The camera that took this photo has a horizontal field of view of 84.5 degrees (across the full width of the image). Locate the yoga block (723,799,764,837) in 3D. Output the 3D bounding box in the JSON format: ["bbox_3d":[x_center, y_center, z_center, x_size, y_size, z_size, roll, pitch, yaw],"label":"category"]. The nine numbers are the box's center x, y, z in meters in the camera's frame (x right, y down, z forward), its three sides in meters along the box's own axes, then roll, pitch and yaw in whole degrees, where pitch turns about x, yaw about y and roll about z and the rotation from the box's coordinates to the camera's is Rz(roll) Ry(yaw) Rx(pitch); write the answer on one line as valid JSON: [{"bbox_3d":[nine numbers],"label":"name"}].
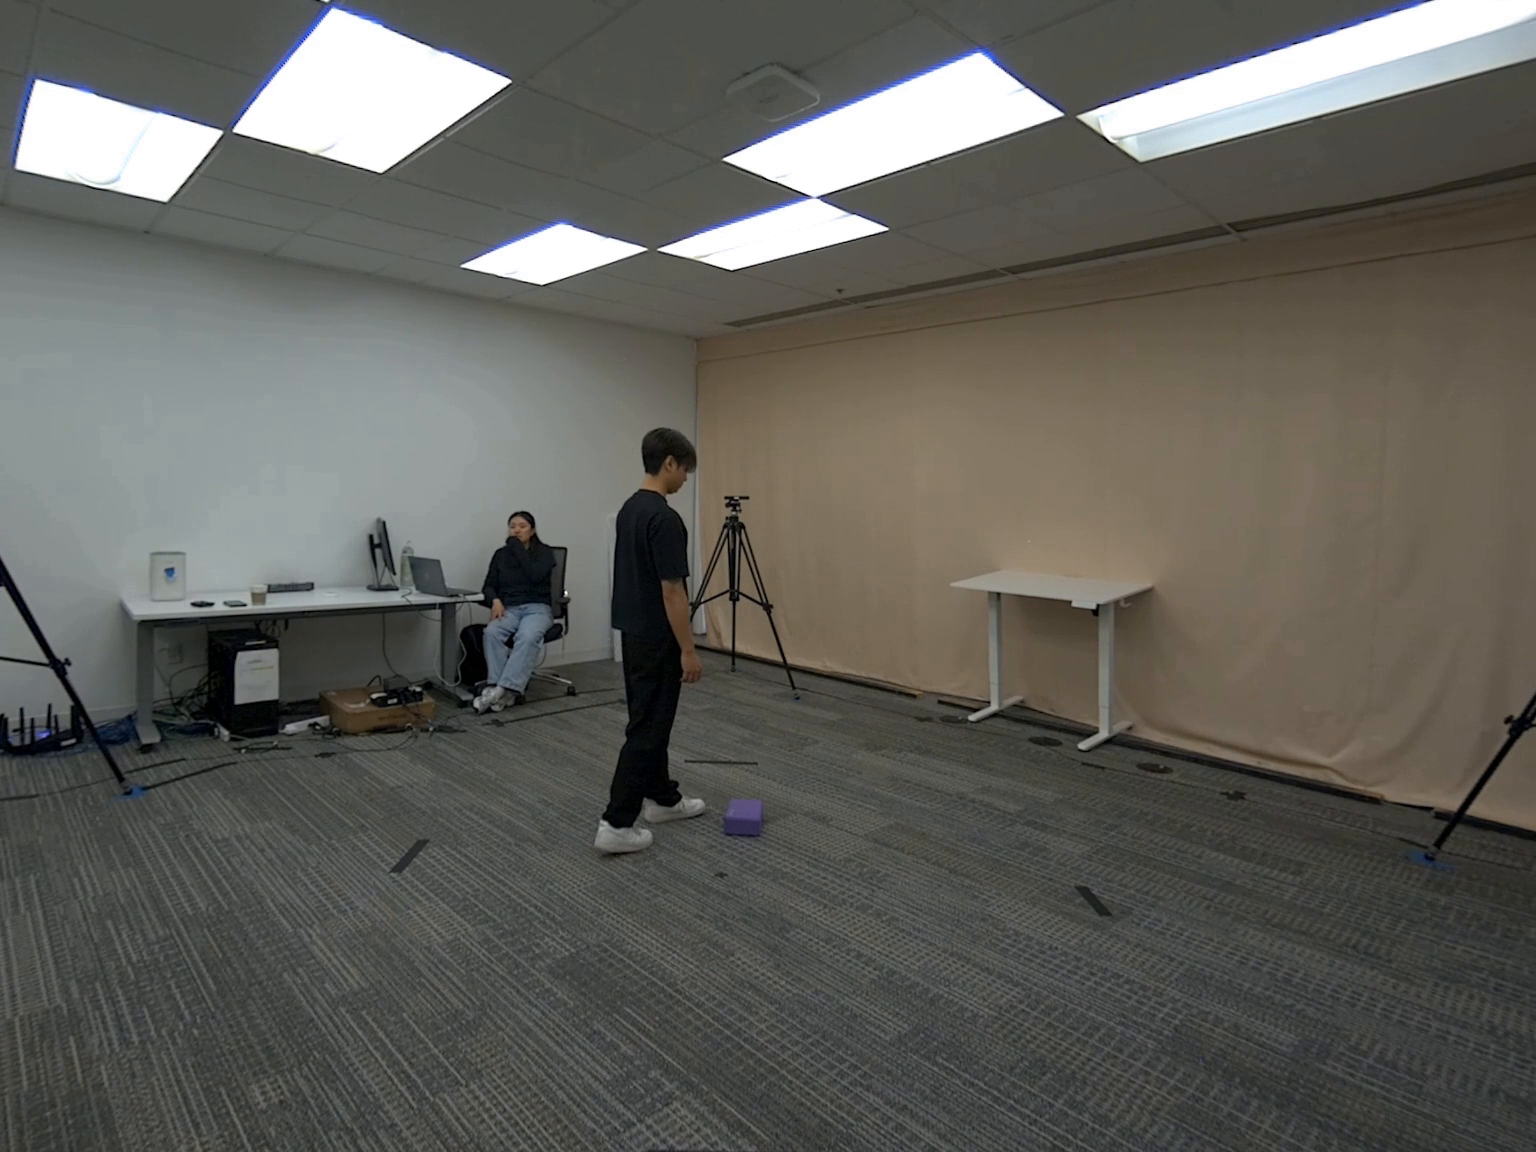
[{"bbox_3d":[-0.112,1.019,3.579,0.149,0.076,0.230,2,8,4],"label":"yoga block"}]
